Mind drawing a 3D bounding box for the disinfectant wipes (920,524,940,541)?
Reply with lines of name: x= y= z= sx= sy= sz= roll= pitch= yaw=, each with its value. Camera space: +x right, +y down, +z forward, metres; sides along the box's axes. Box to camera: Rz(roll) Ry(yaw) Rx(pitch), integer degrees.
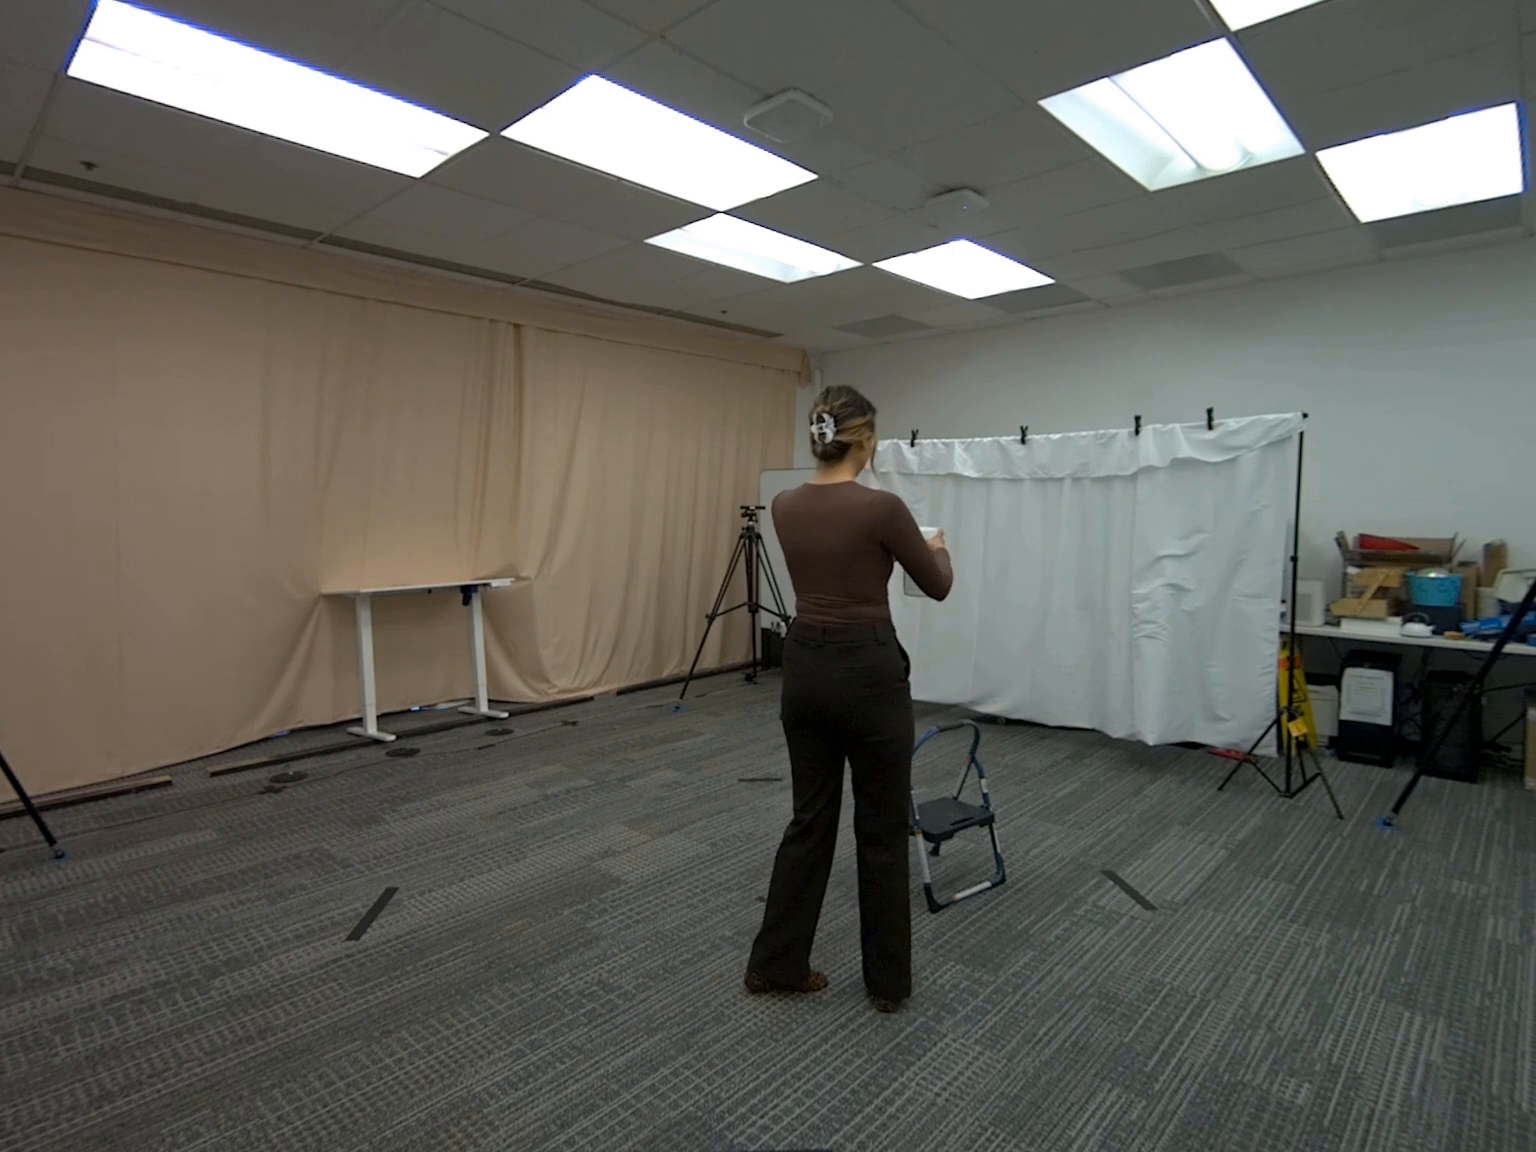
disinfectant wipes: x=0.470 y=-0.043 z=2.667 sx=0.118 sy=0.216 sz=0.118 roll=-4 pitch=8 yaw=-1
